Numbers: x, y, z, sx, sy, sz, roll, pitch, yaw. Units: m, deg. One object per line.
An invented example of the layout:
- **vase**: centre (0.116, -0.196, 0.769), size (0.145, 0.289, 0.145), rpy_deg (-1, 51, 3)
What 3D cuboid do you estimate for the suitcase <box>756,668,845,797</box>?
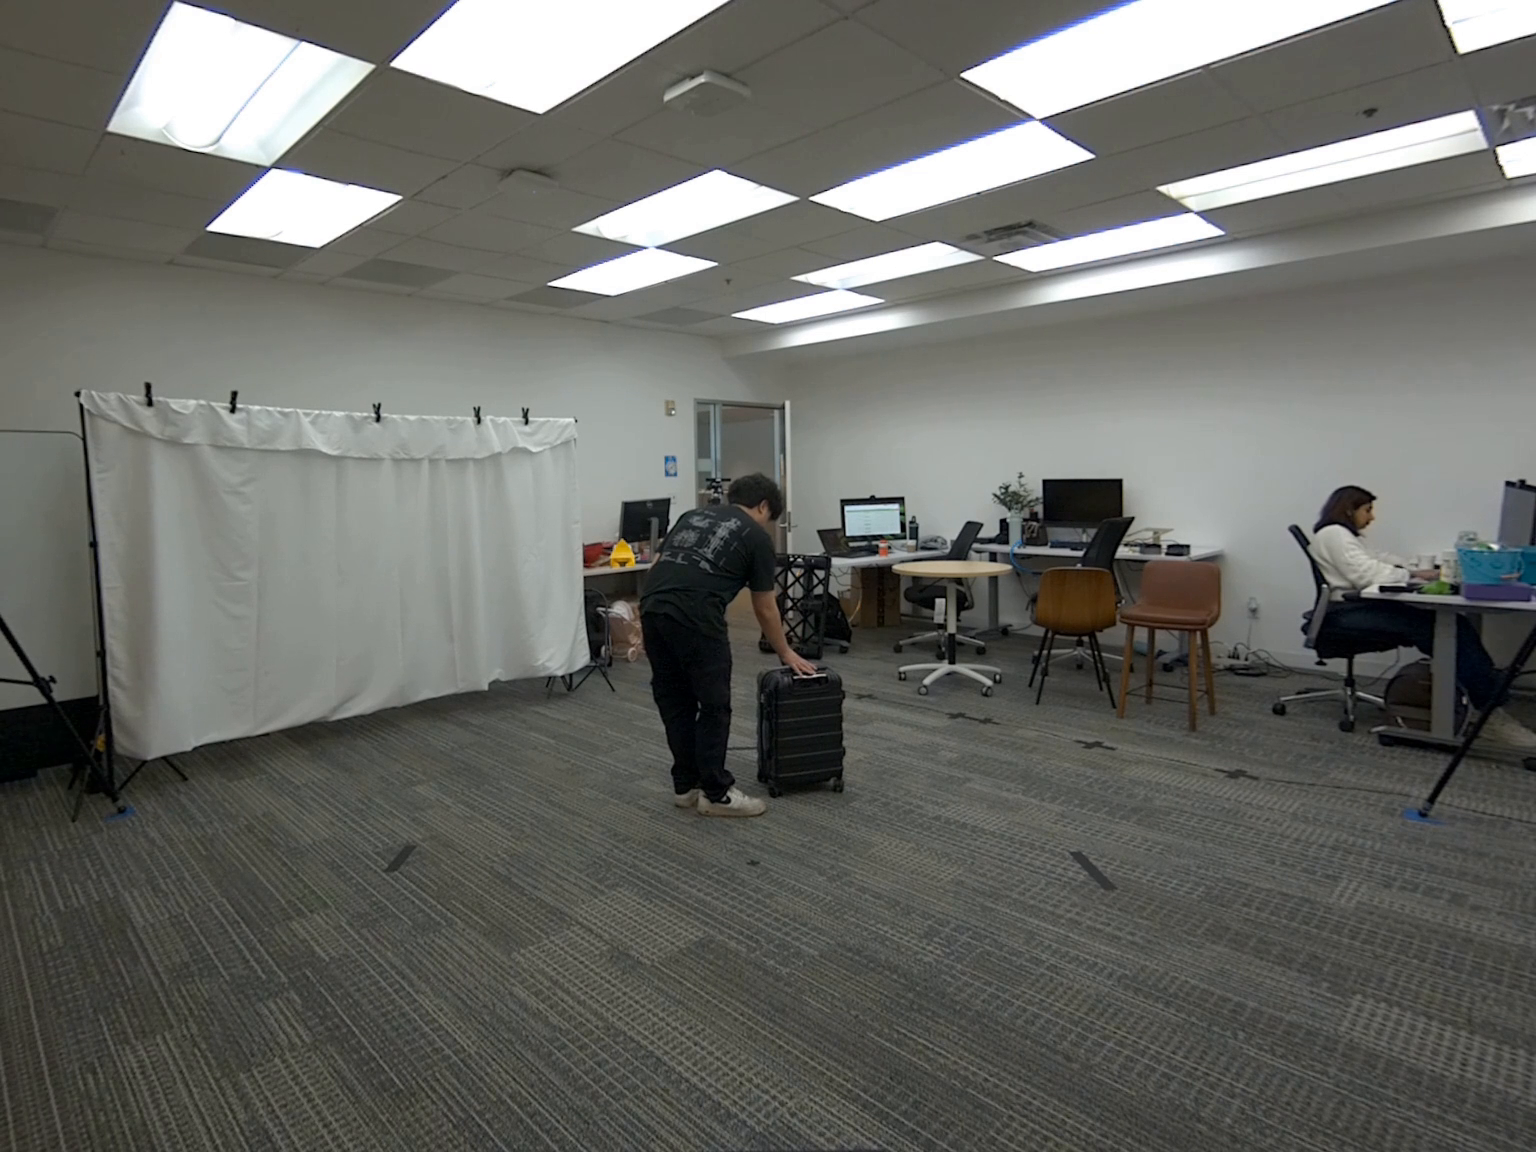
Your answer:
- **suitcase**: centre (0.143, 0.676, 3.866), size (0.369, 0.547, 0.253), rpy_deg (-3, 4, -19)
